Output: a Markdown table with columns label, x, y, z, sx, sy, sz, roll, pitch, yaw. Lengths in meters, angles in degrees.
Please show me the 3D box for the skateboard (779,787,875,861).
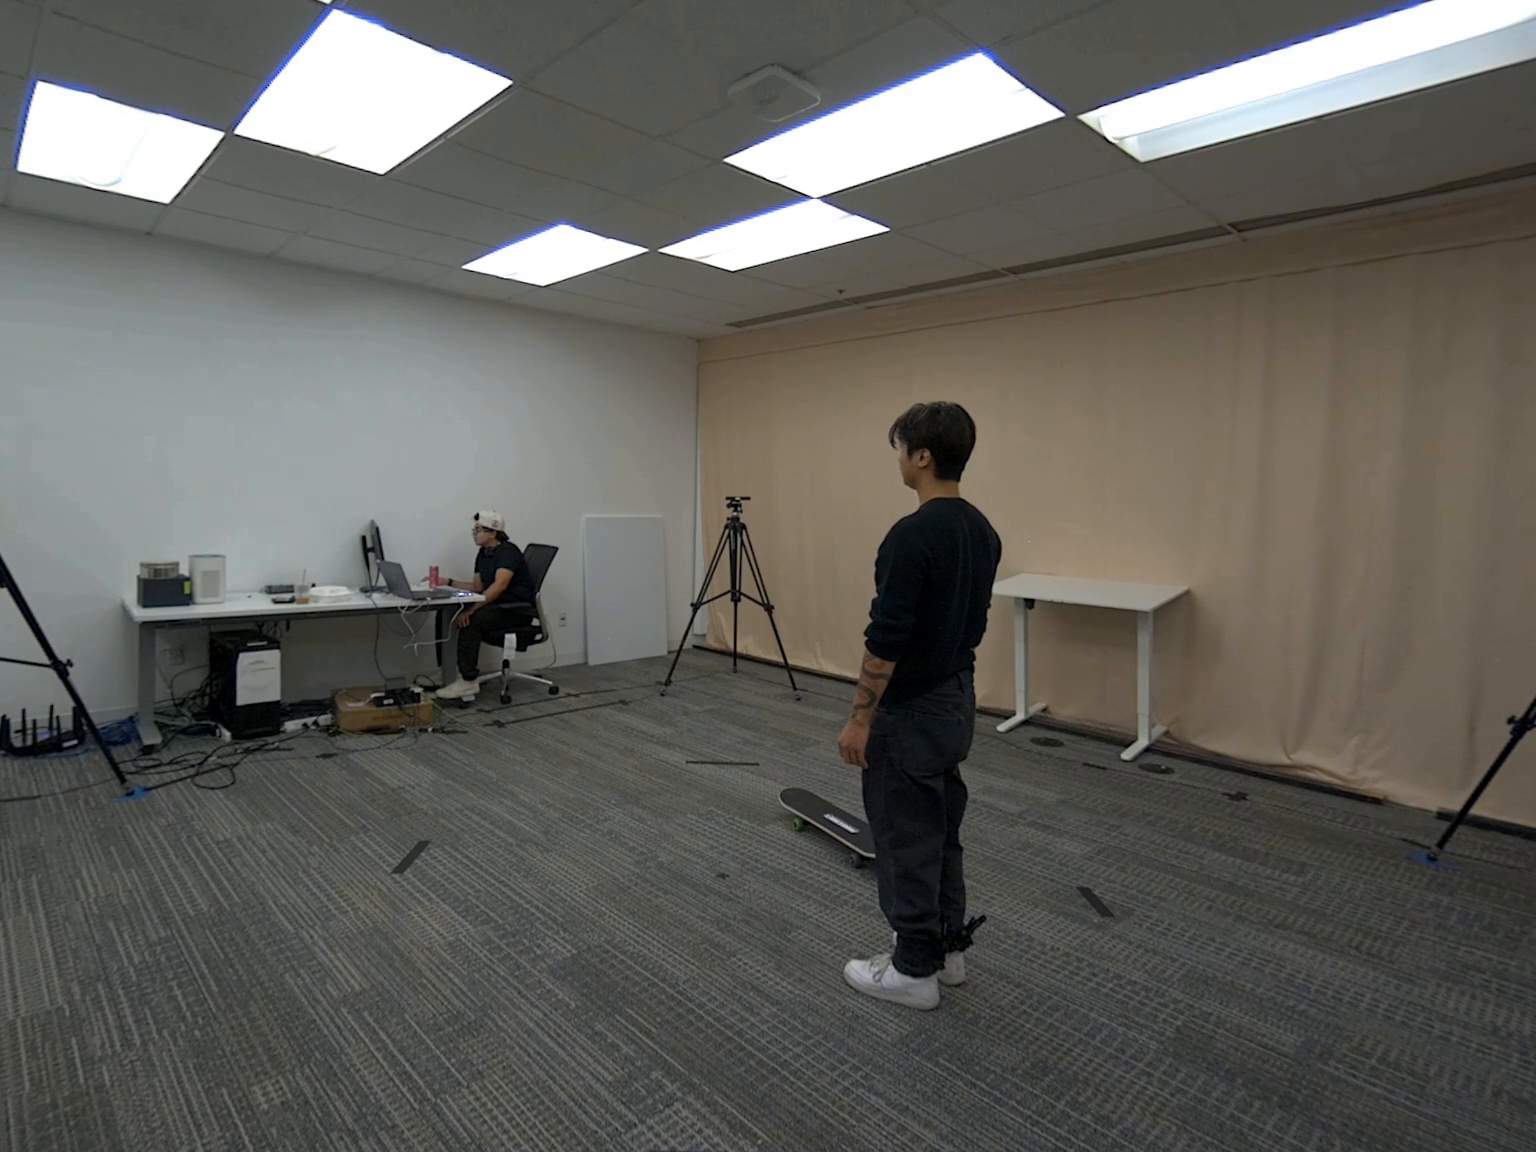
| label | x | y | z | sx | sy | sz | roll | pitch | yaw |
| --- | --- | --- | --- | --- | --- | --- | --- | --- | --- |
| skateboard | 0.291 | 1.034 | 3.418 | 0.189 | 0.110 | 0.803 | 0 | 5 | -30 |
